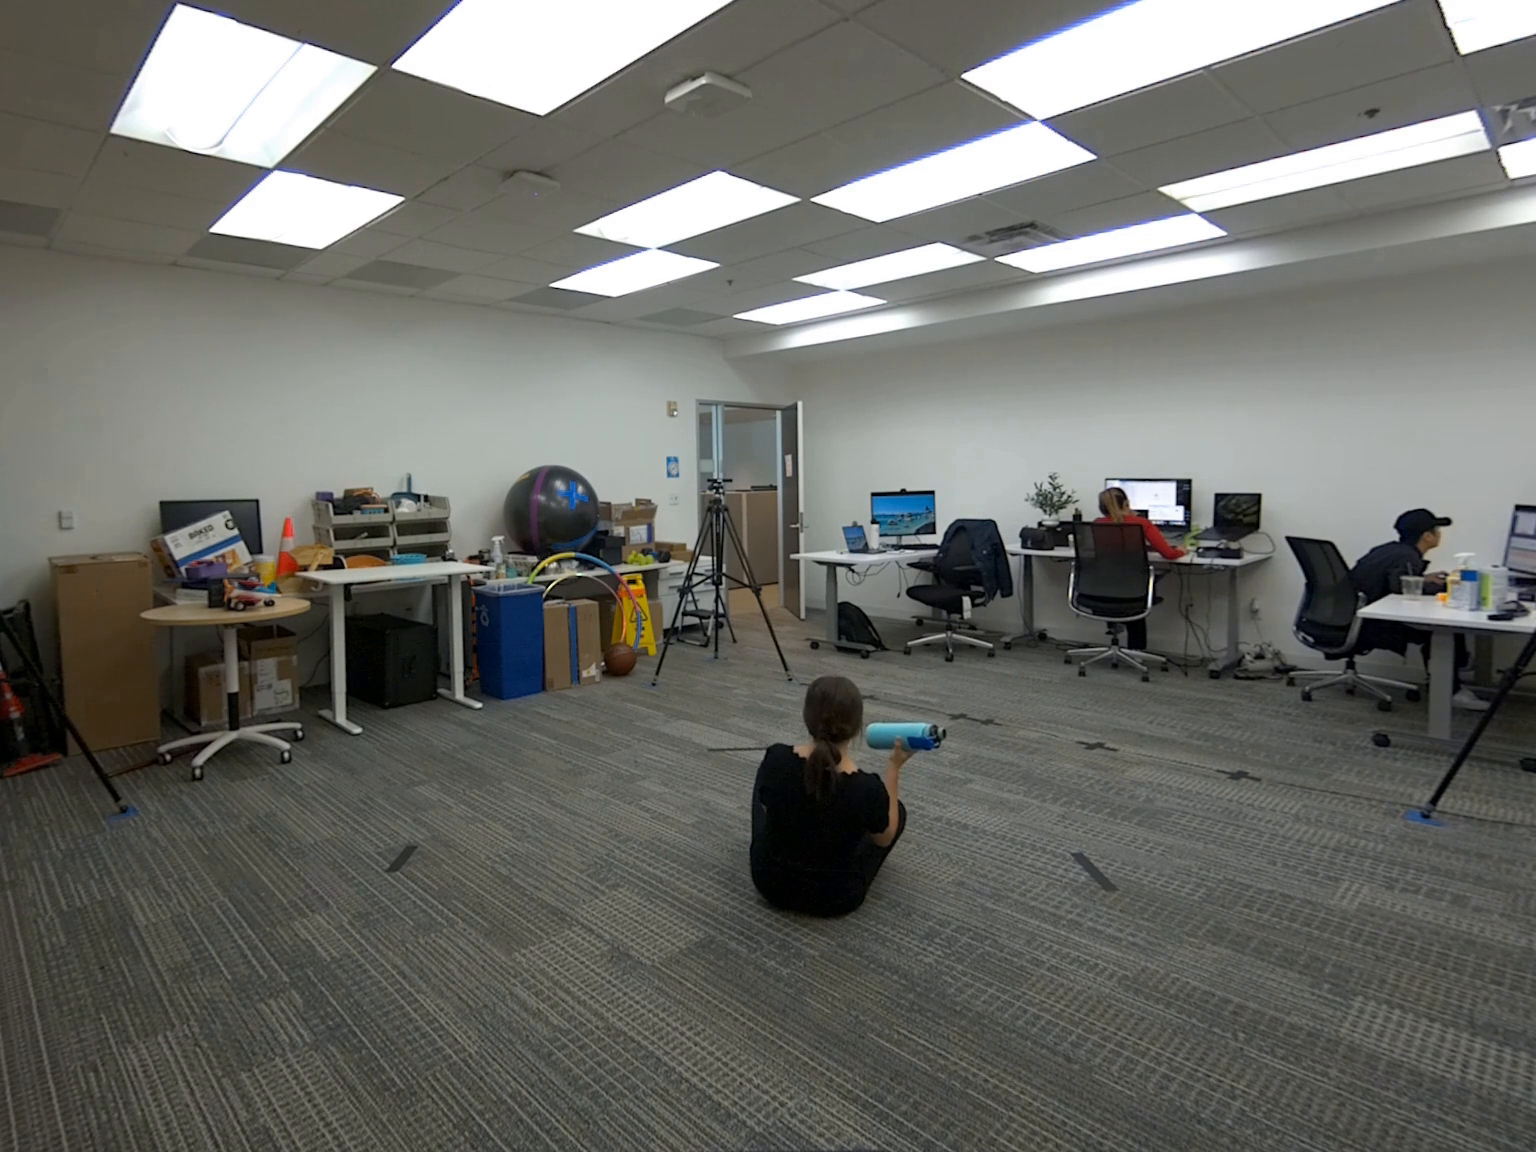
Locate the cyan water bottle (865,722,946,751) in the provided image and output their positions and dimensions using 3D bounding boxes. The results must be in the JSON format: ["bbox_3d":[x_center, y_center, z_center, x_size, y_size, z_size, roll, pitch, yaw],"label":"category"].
[{"bbox_3d":[0.469,0.544,2.907,0.290,0.093,0.090,-10,-3,44],"label":"cyan water bottle"}]
